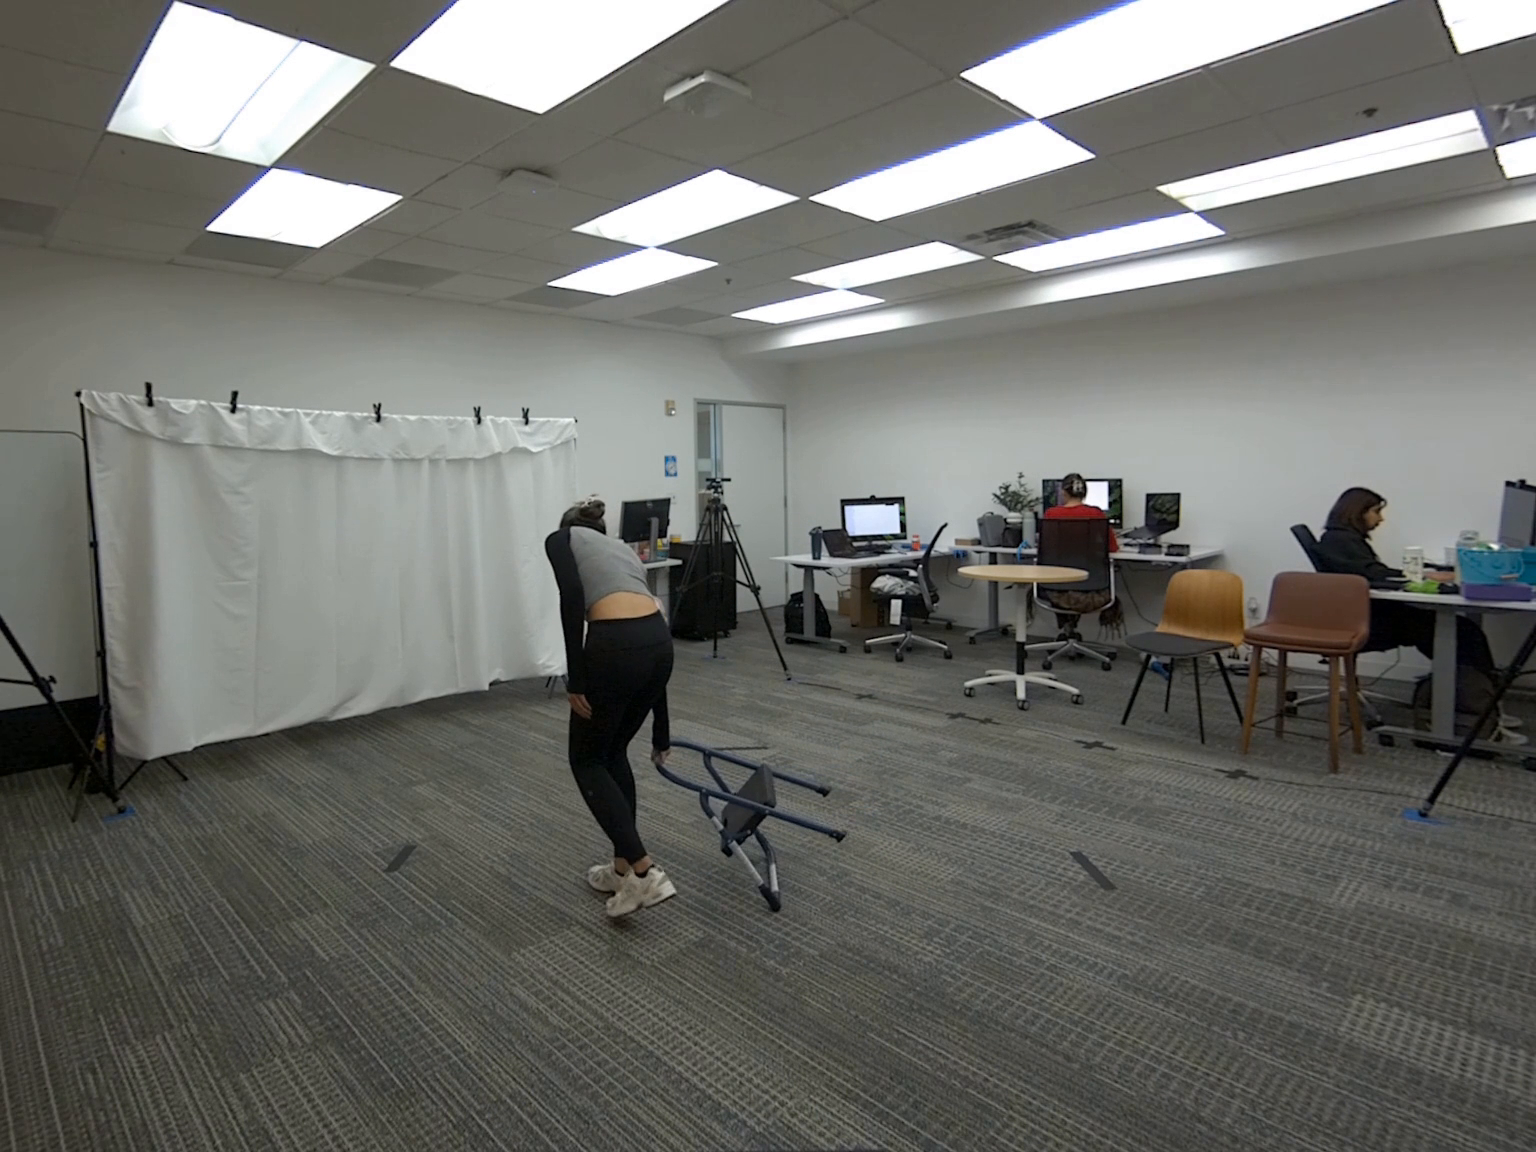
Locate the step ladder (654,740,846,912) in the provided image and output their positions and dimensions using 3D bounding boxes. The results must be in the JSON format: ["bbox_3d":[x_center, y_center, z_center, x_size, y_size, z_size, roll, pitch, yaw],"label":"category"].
[{"bbox_3d":[-0.098,0.738,2.941,0.604,0.349,0.432,40,3,-3],"label":"step ladder"}]
